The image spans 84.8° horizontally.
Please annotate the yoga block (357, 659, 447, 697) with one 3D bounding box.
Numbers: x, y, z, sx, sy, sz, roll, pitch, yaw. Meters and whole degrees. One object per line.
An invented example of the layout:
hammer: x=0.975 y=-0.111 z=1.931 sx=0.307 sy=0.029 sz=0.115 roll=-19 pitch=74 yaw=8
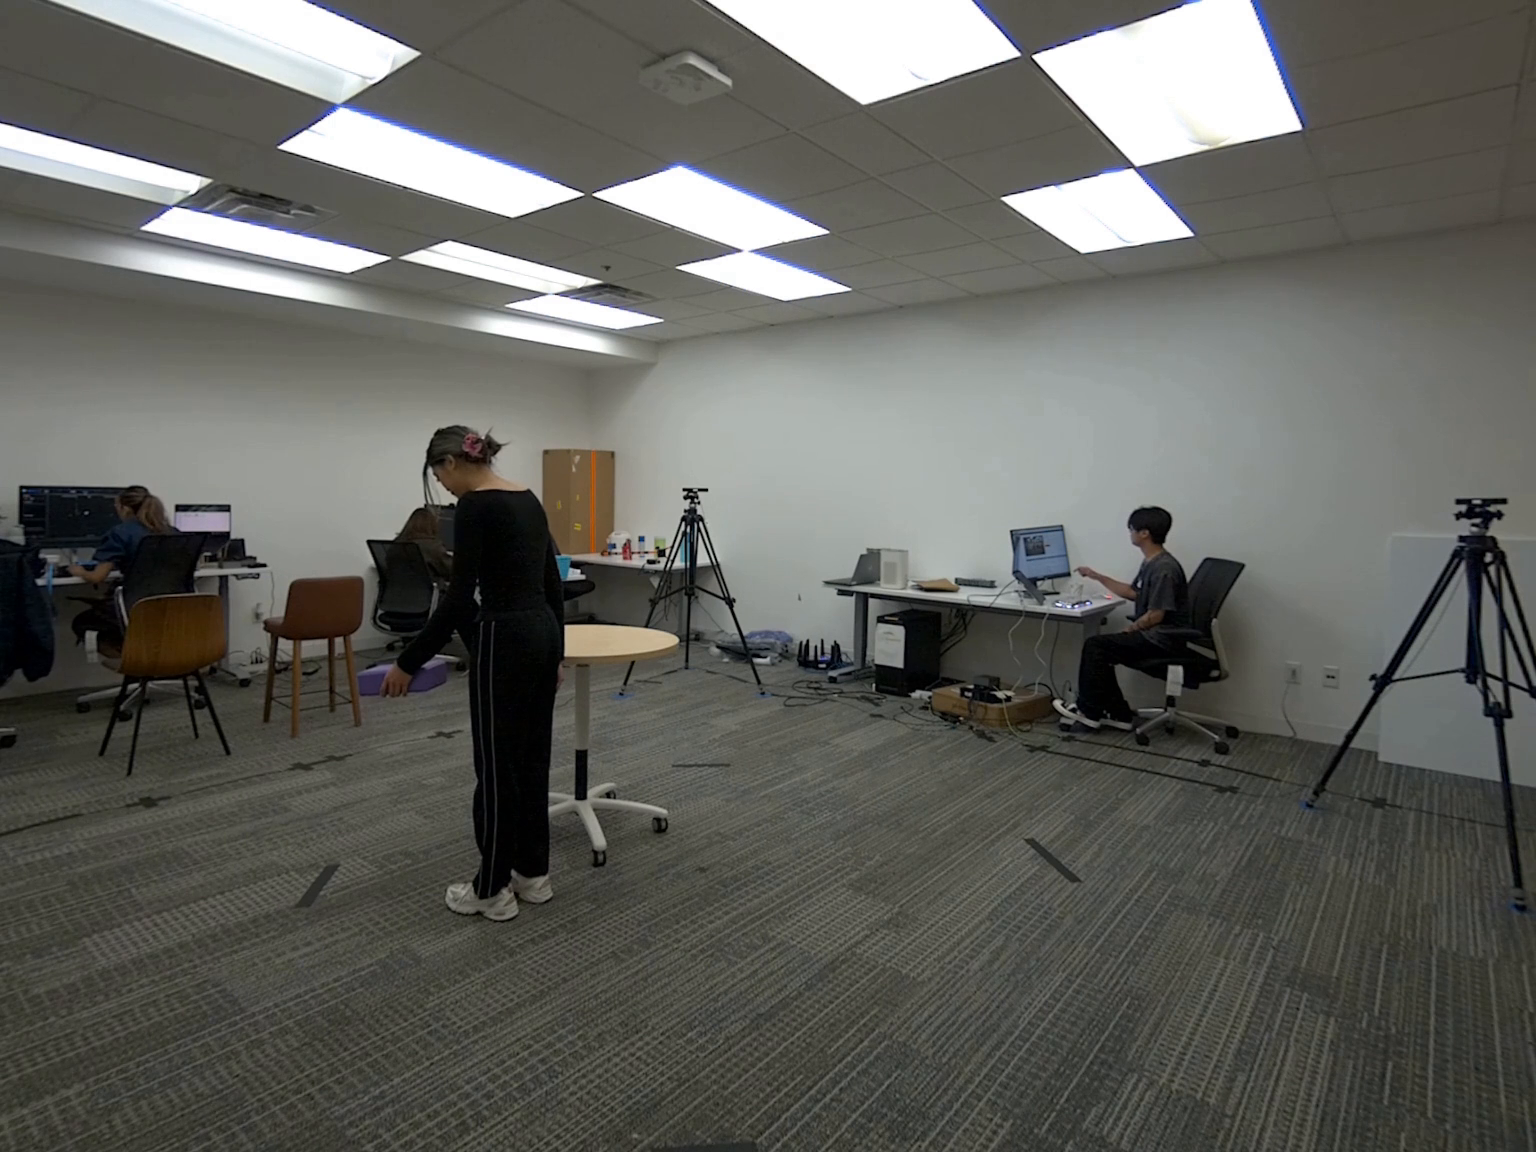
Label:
yoga block: x=-1.175 y=0.325 z=2.696 sx=0.231 sy=0.076 sz=0.148 roll=-4 pitch=4 yaw=7
